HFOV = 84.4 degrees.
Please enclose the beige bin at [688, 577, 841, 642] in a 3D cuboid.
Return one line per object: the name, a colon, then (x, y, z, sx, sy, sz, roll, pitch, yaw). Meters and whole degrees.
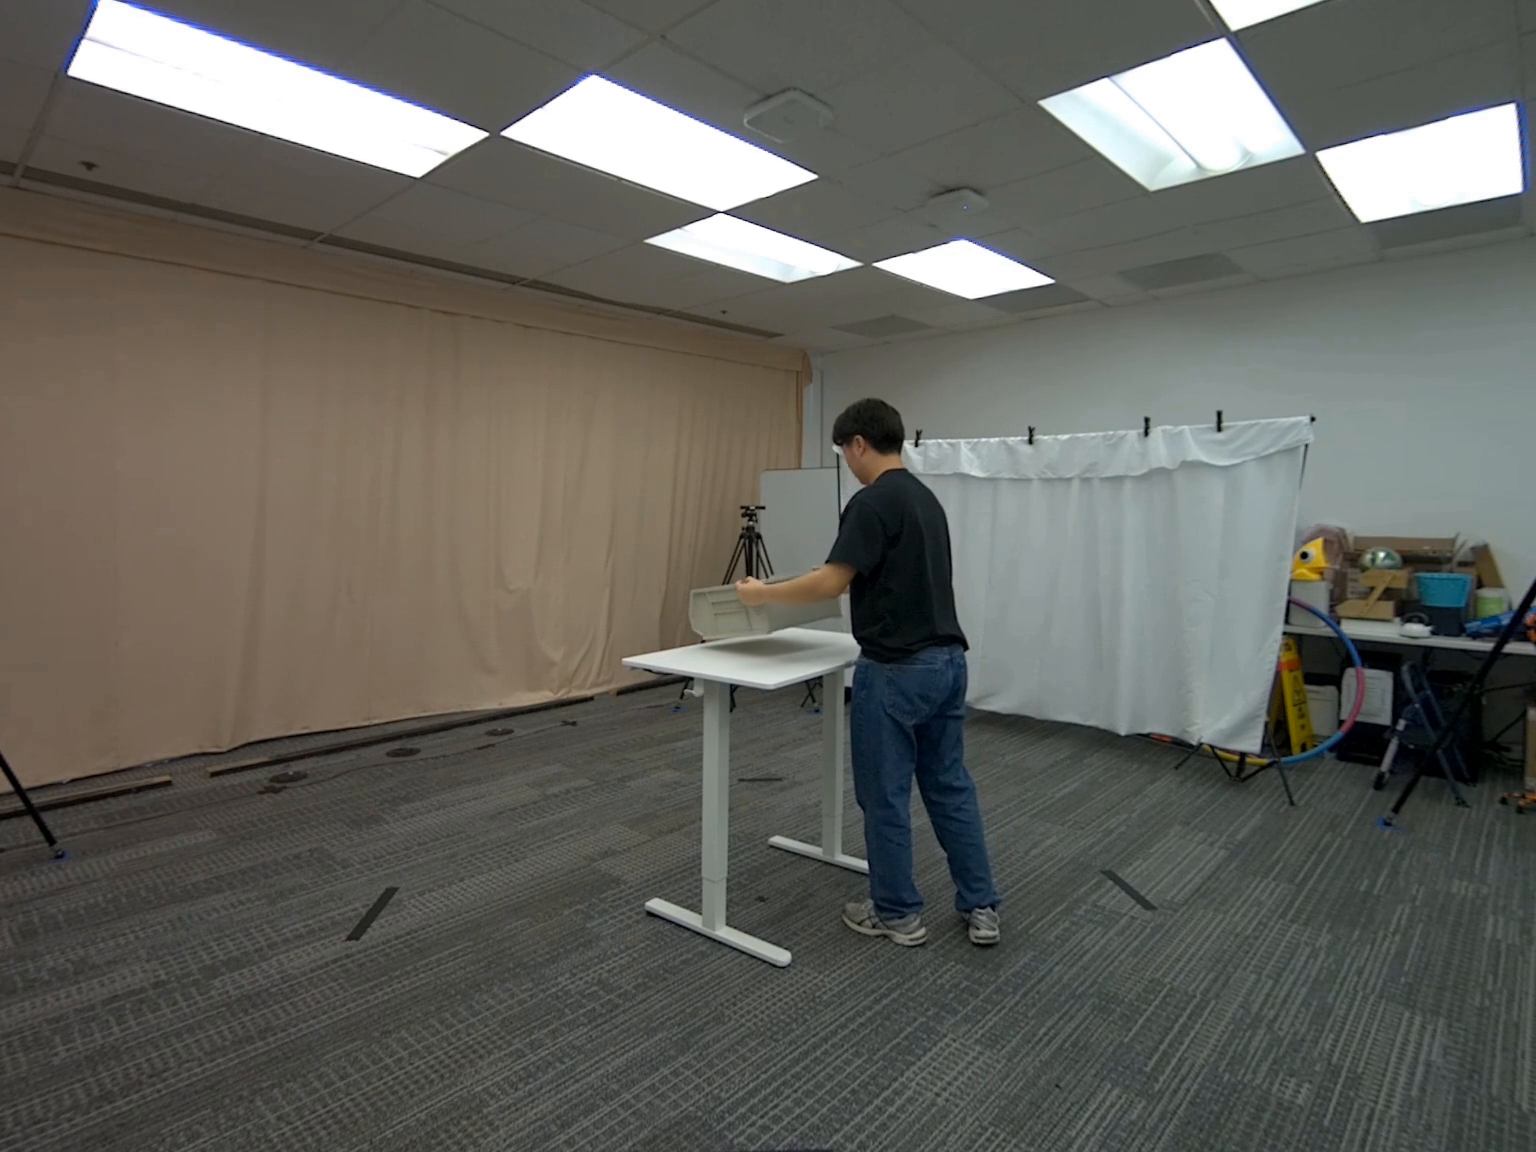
beige bin: (-0.007, 0.103, 3.025, 0.388, 0.189, 0.410, -6, 2, 45)
